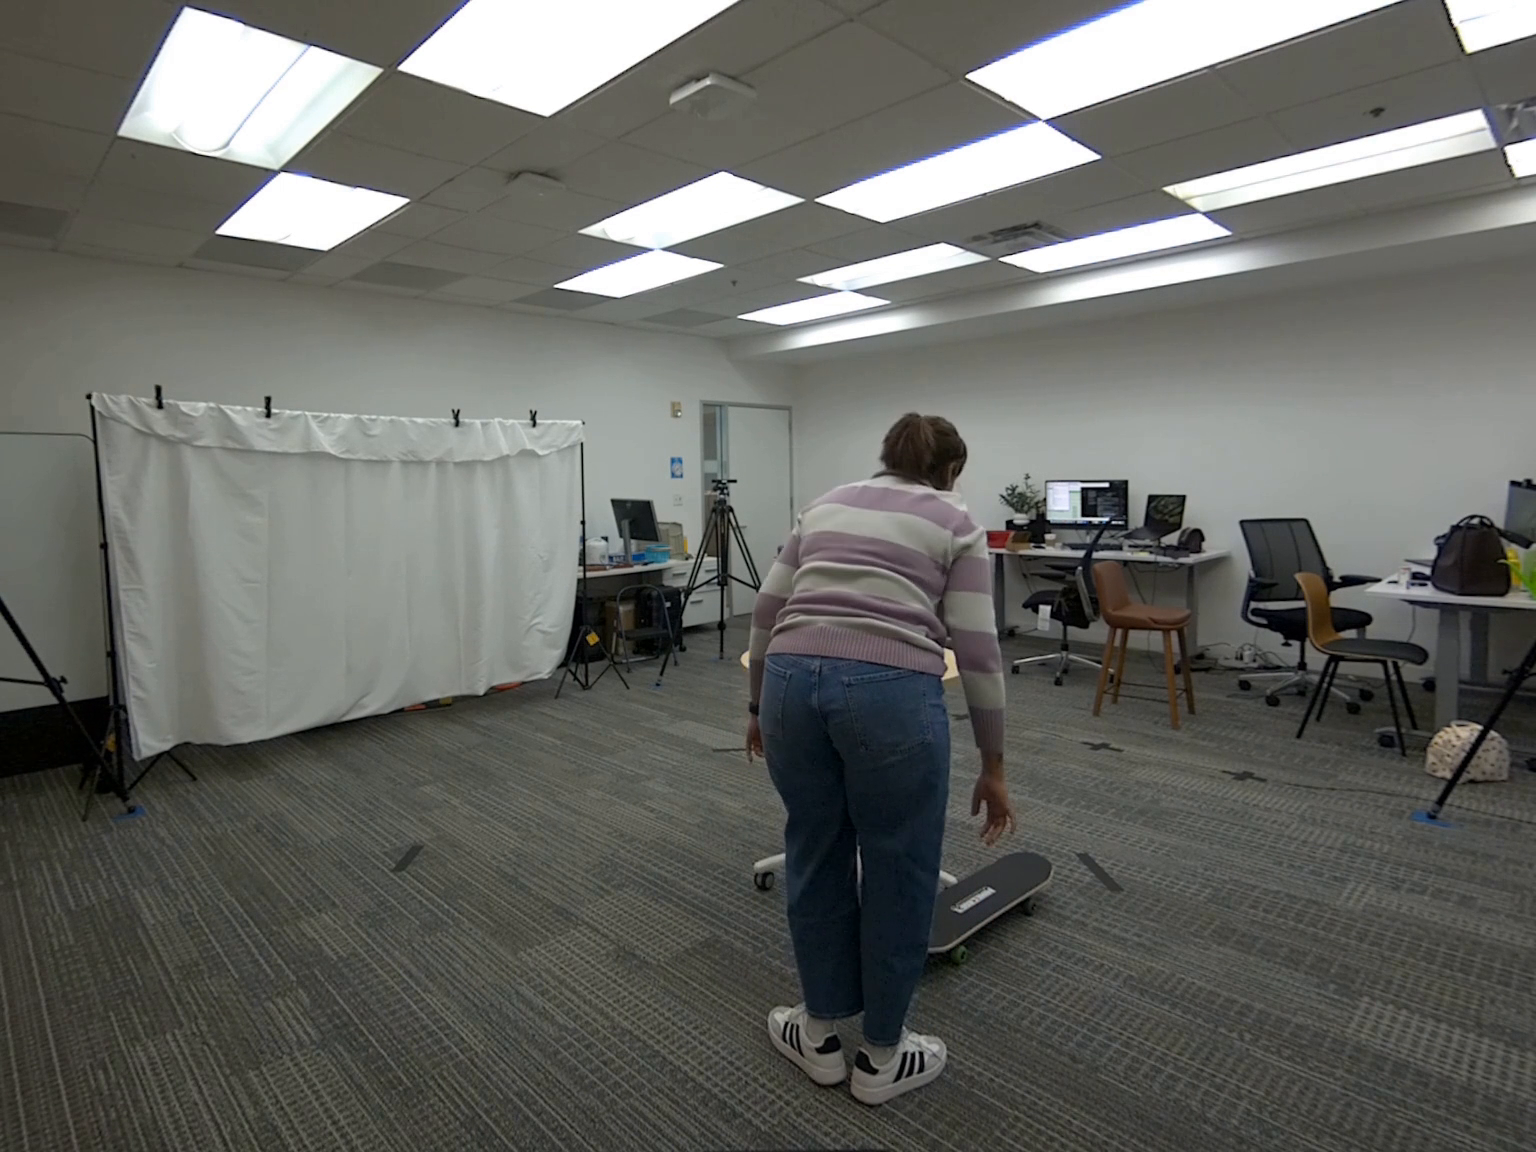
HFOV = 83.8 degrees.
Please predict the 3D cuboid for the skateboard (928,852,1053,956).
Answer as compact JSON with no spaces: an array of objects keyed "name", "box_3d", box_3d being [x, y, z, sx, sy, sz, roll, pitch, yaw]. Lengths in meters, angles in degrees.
[{"name":"skateboard","box_3d":[0.639,1.029,2.642,0.765,0.110,0.199,-8,9,-43]}]
